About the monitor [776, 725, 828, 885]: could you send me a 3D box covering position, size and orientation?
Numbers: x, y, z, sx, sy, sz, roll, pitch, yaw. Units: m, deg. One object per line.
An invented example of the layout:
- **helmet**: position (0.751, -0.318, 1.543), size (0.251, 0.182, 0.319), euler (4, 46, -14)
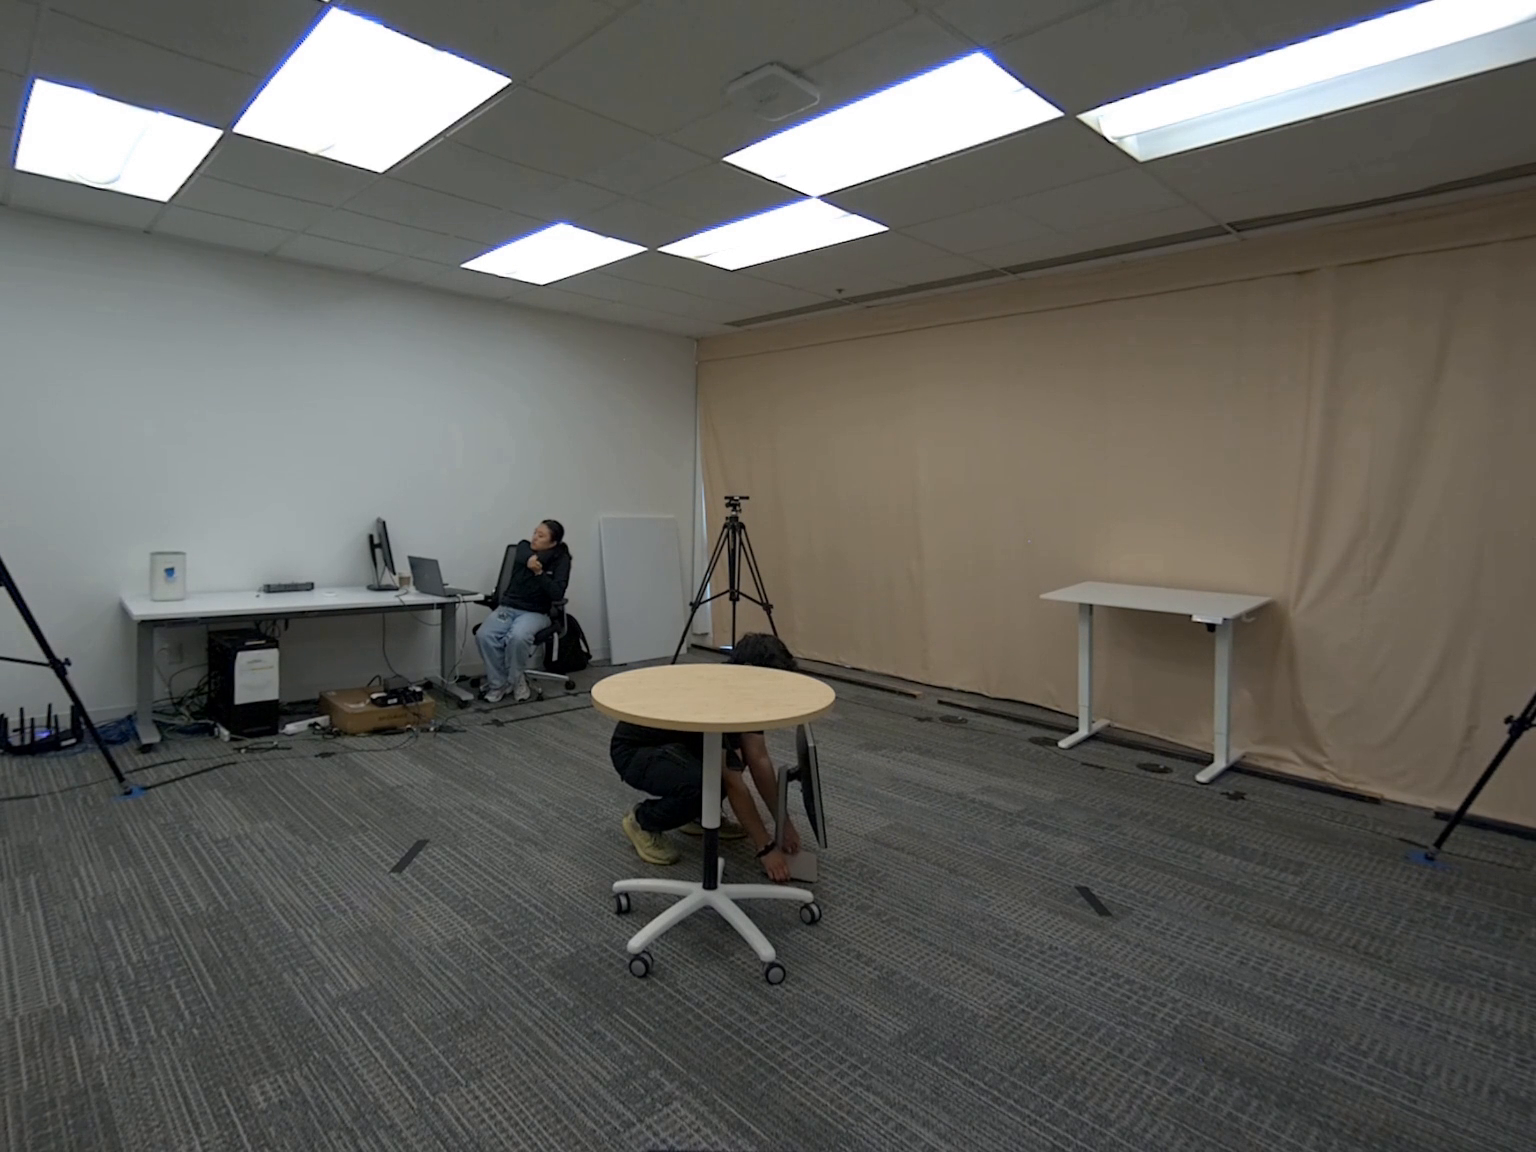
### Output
- **monitor**: position (0.085, 0.823, 3.166), size (0.210, 0.552, 0.567), euler (0, 4, -1)
